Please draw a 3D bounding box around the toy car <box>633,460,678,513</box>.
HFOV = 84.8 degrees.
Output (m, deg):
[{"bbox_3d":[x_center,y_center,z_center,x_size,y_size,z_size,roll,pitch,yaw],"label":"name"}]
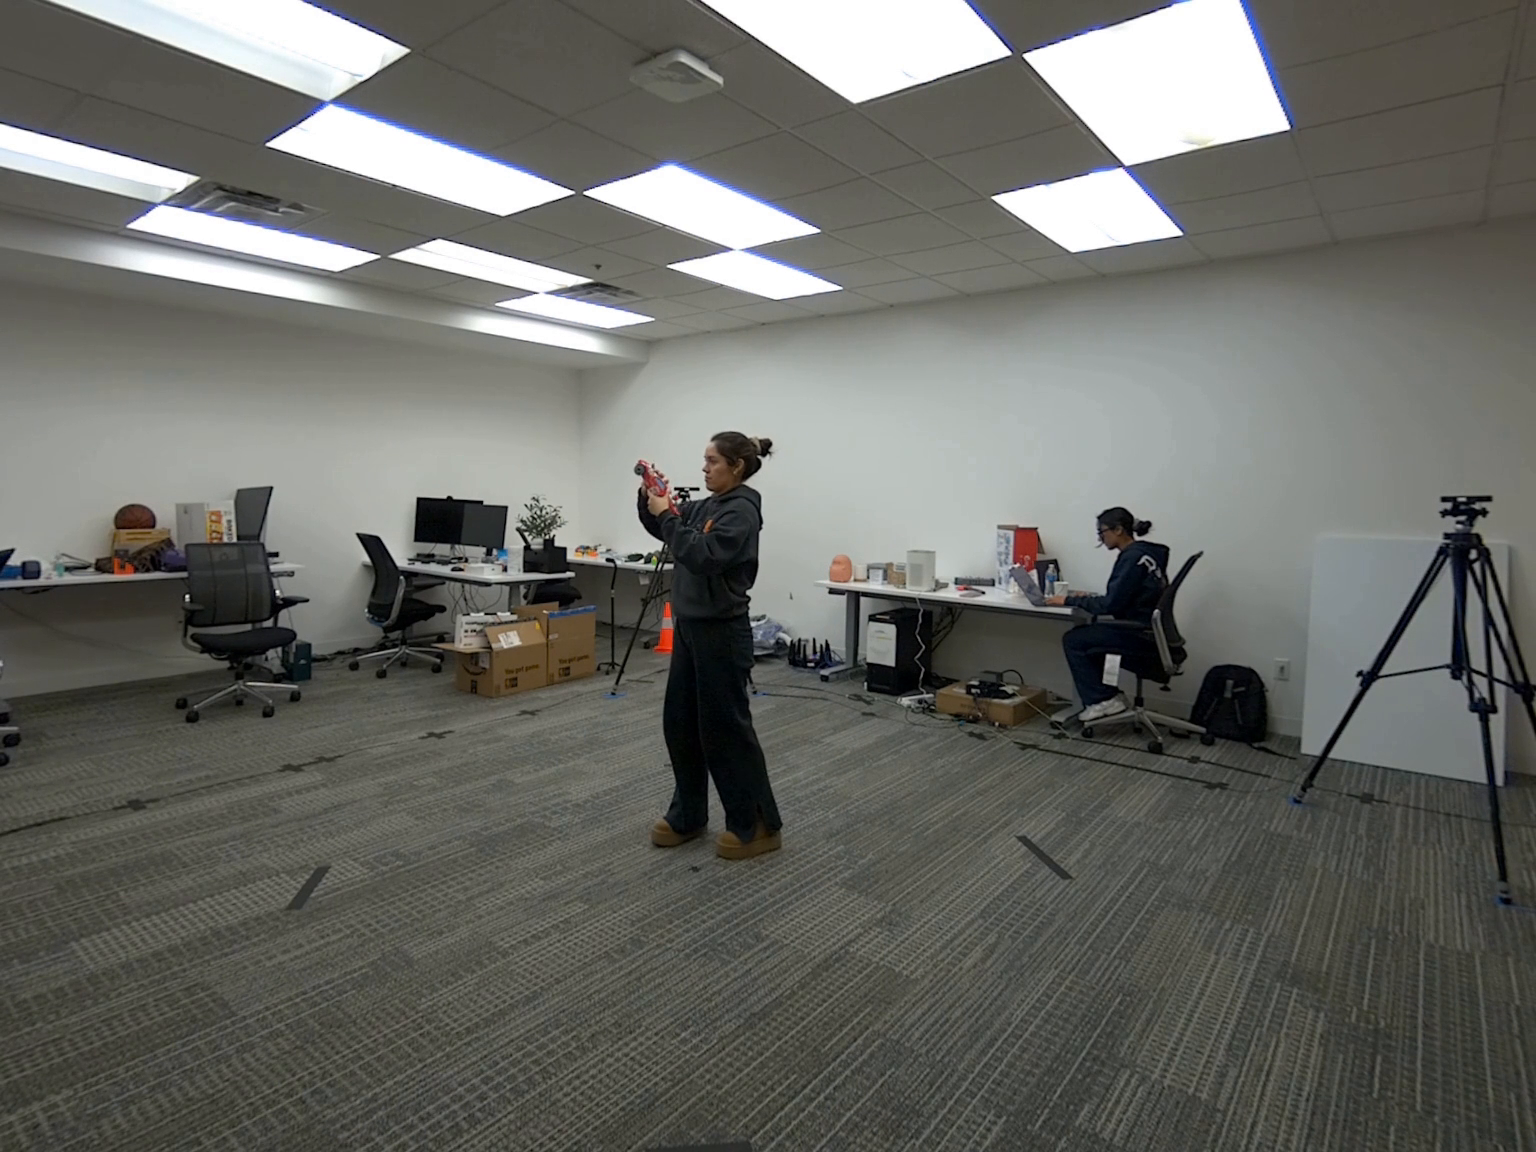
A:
[{"bbox_3d":[-0.427,-0.329,3.222,0.083,0.254,0.130,-43,1,4],"label":"toy car"}]
